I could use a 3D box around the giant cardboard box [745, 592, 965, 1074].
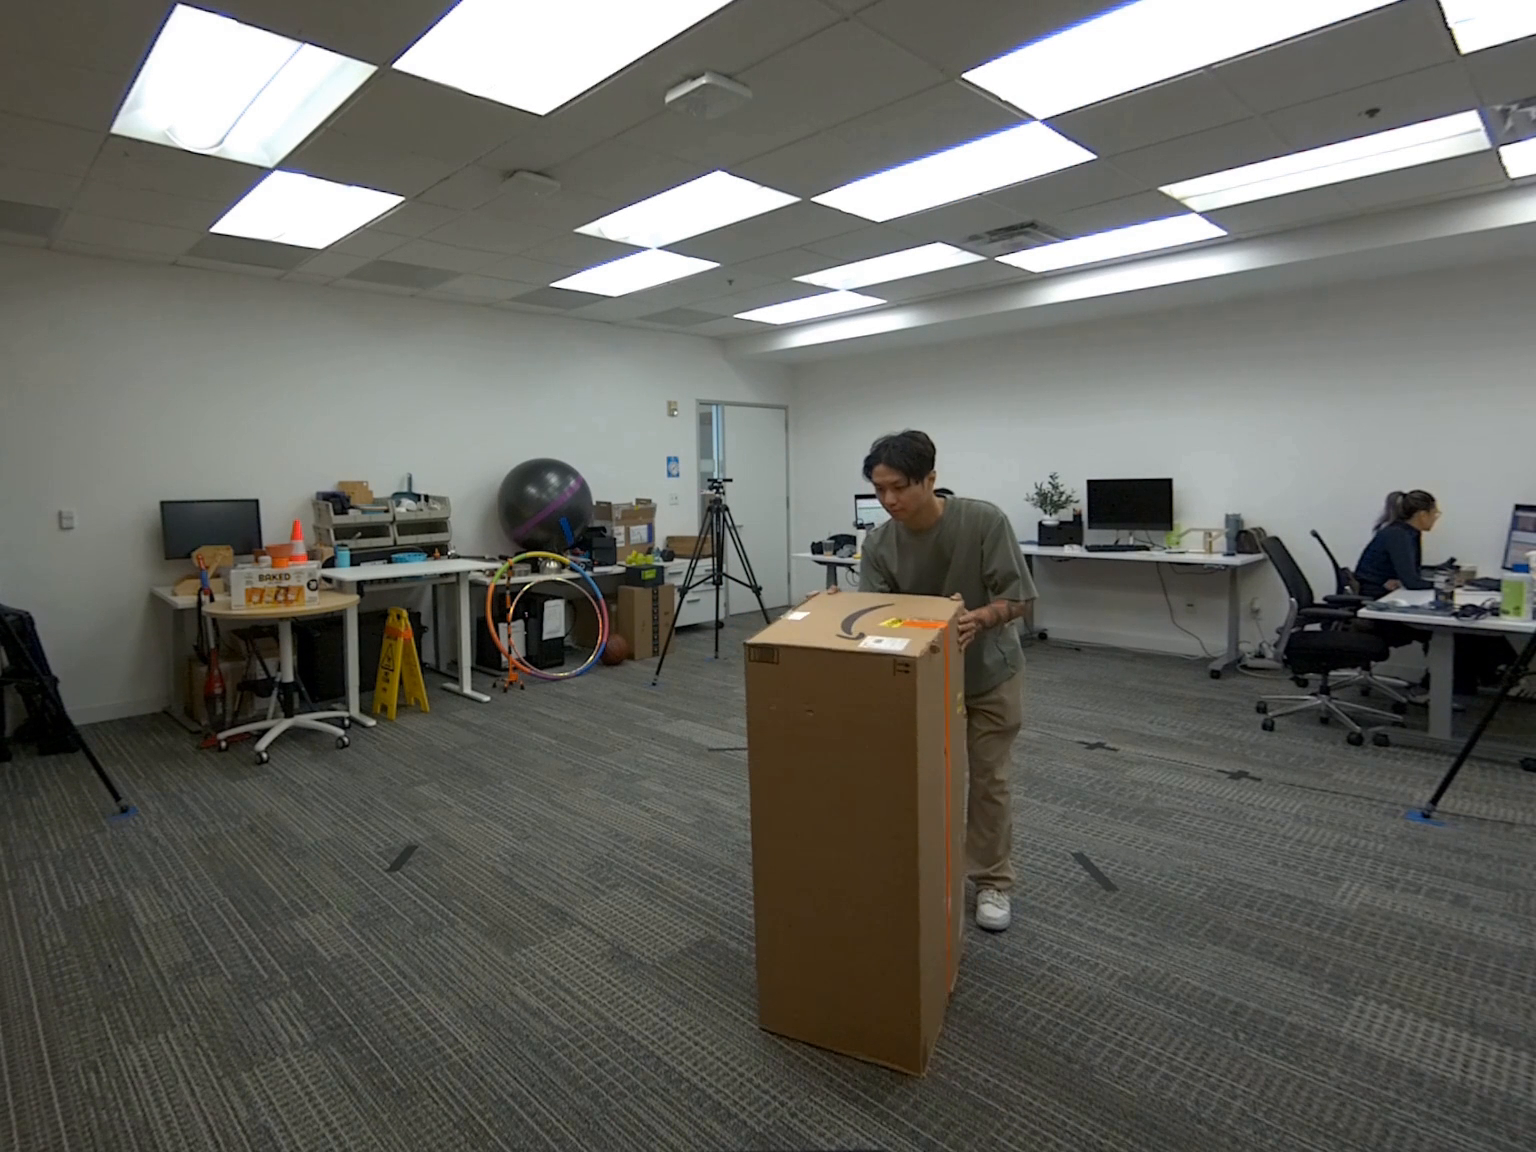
[{"bbox_3d":[0.253,0.616,2.263,0.436,1.018,0.569,1,9,24],"label":"giant cardboard box"}]
